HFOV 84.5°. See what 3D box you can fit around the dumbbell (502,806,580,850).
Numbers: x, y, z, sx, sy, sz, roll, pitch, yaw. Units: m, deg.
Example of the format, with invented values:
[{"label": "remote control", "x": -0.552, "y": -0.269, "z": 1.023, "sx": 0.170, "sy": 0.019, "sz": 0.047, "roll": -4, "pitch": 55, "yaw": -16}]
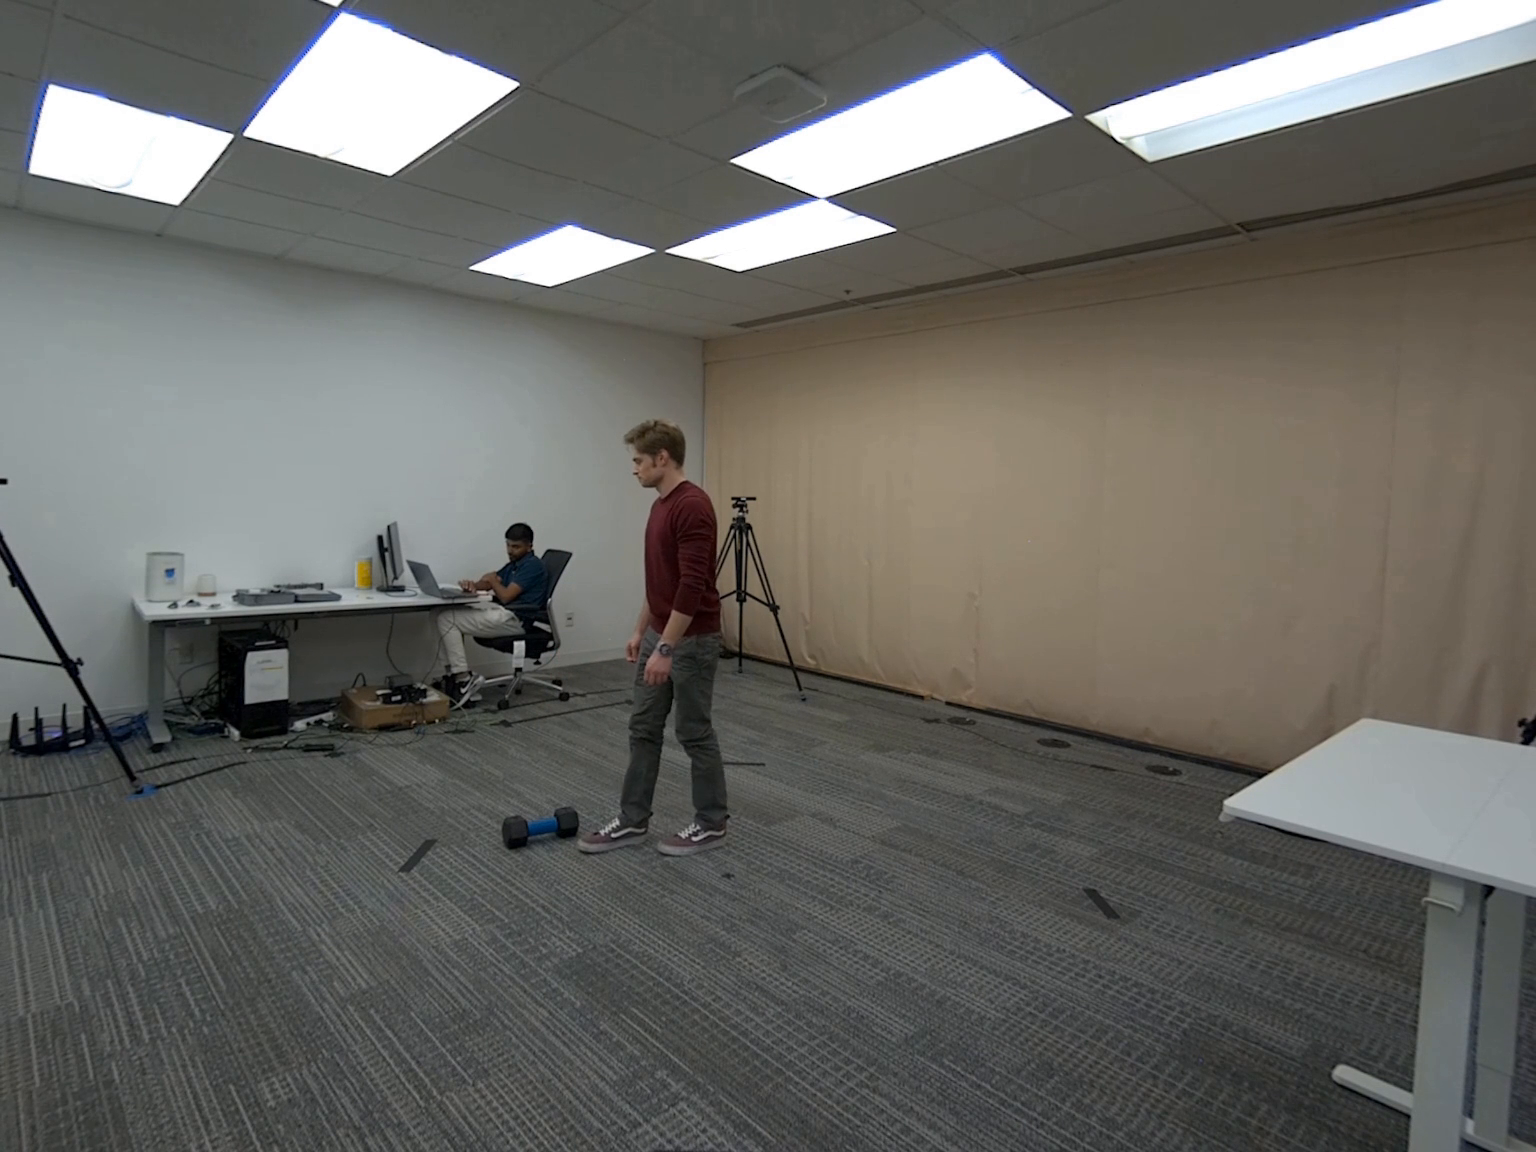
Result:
[{"label": "dumbbell", "x": -0.926, "y": 1.013, "z": 3.389, "sx": 0.287, "sy": 0.121, "sz": 0.112, "roll": -1, "pitch": 35, "yaw": -33}]
